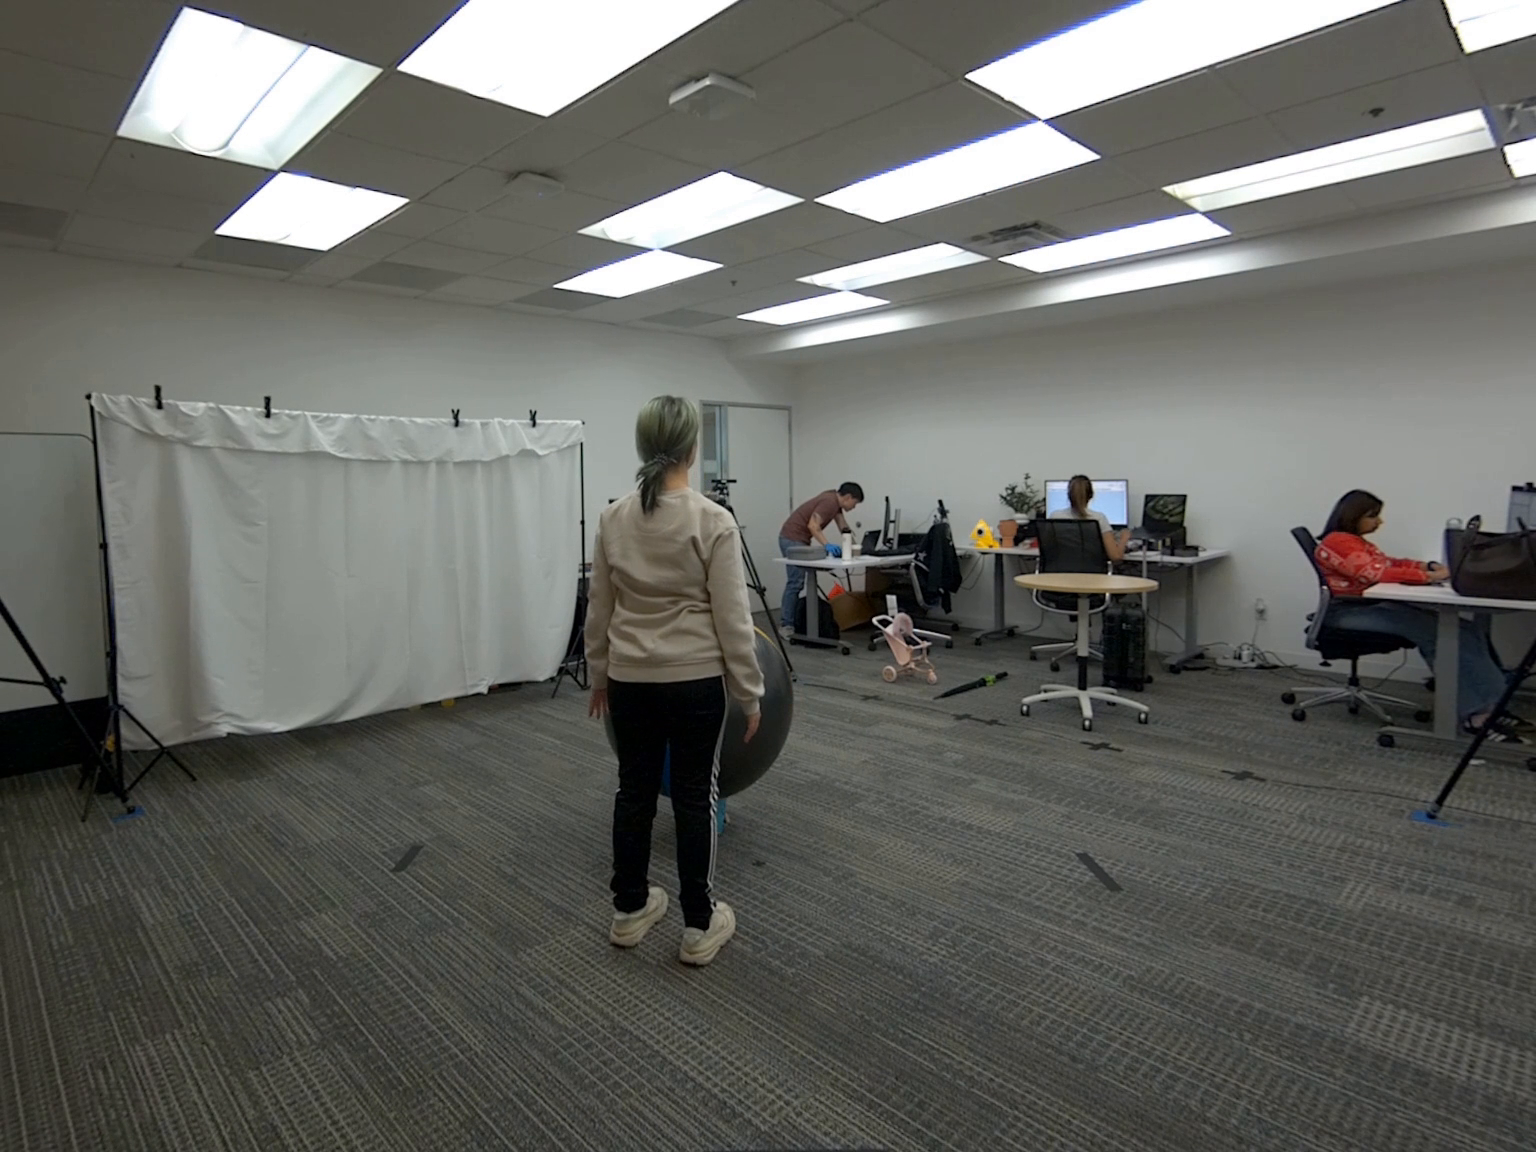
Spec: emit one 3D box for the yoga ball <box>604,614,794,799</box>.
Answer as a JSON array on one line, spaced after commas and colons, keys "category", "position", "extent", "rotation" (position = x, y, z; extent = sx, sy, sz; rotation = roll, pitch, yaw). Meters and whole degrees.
[{"category": "yoga ball", "position": [-0.273, 0.507, 3.400], "extent": [0.757, 0.755, 0.762], "rotation": [-1, 5, -2]}]
